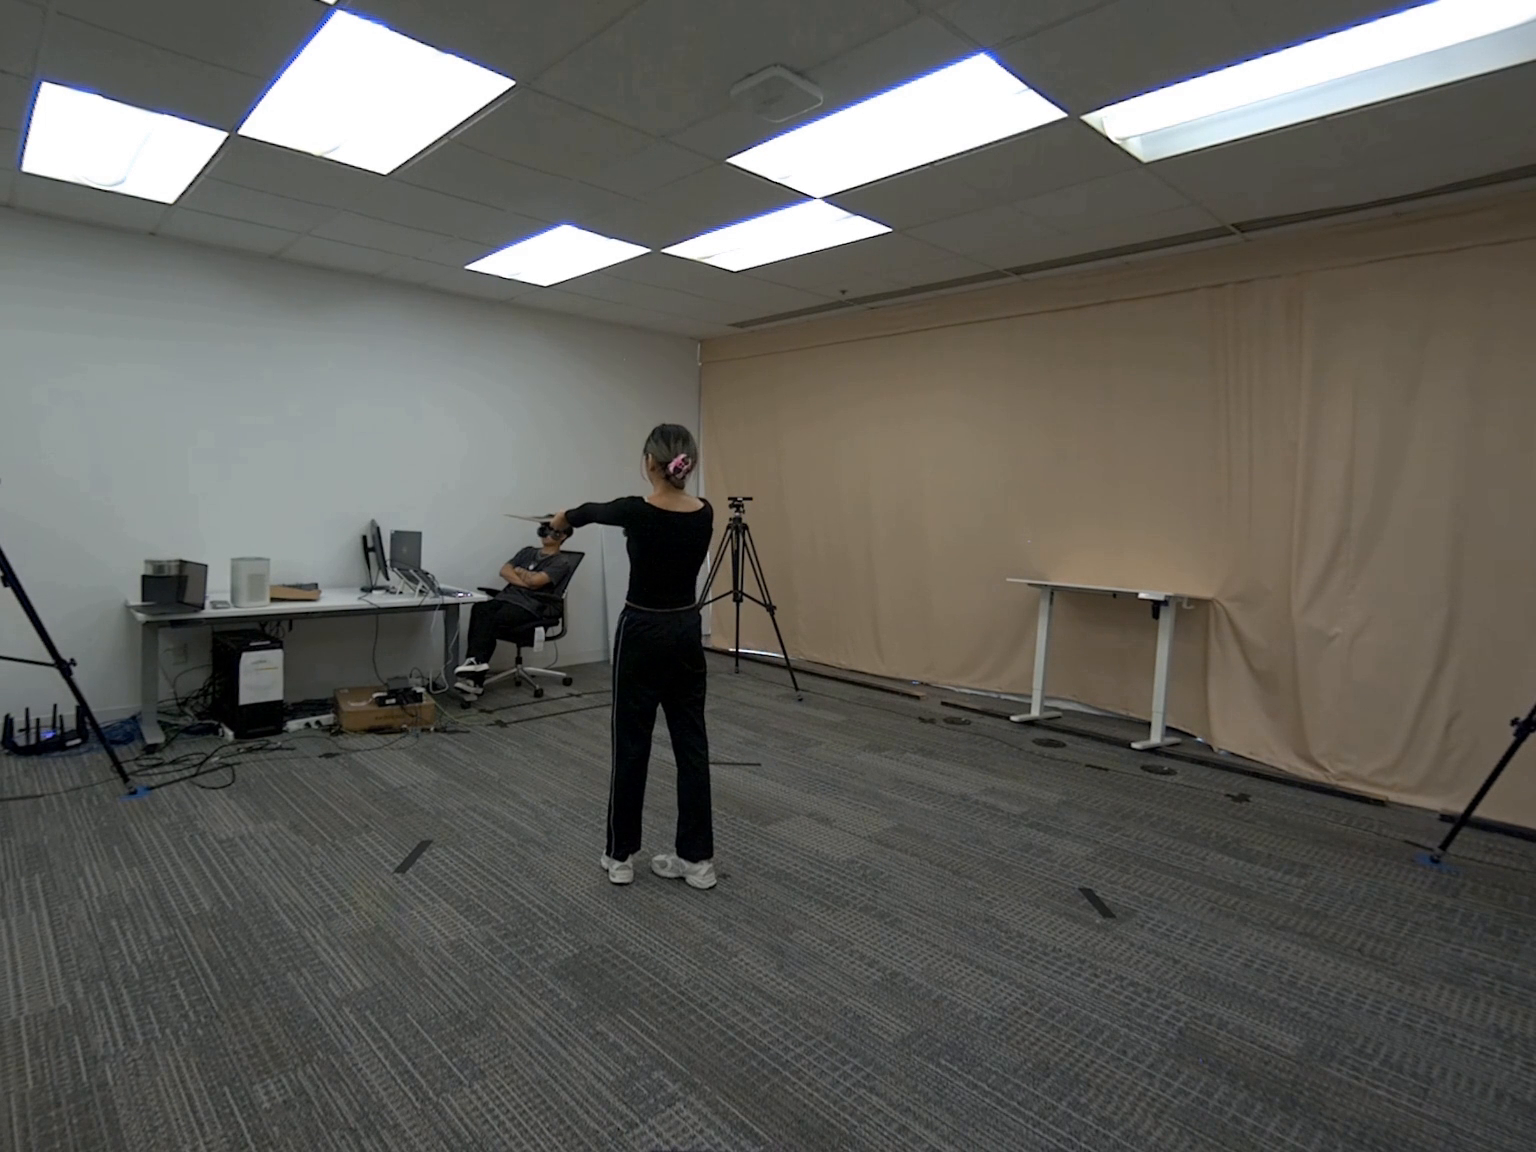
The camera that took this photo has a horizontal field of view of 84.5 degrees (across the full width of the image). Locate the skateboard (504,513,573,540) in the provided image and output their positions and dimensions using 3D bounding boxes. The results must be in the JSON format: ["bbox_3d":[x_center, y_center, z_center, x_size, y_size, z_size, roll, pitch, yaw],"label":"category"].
[{"bbox_3d":[-0.748,-0.216,3.594,0.769,0.110,0.198,-3,6,-33],"label":"skateboard"}]
